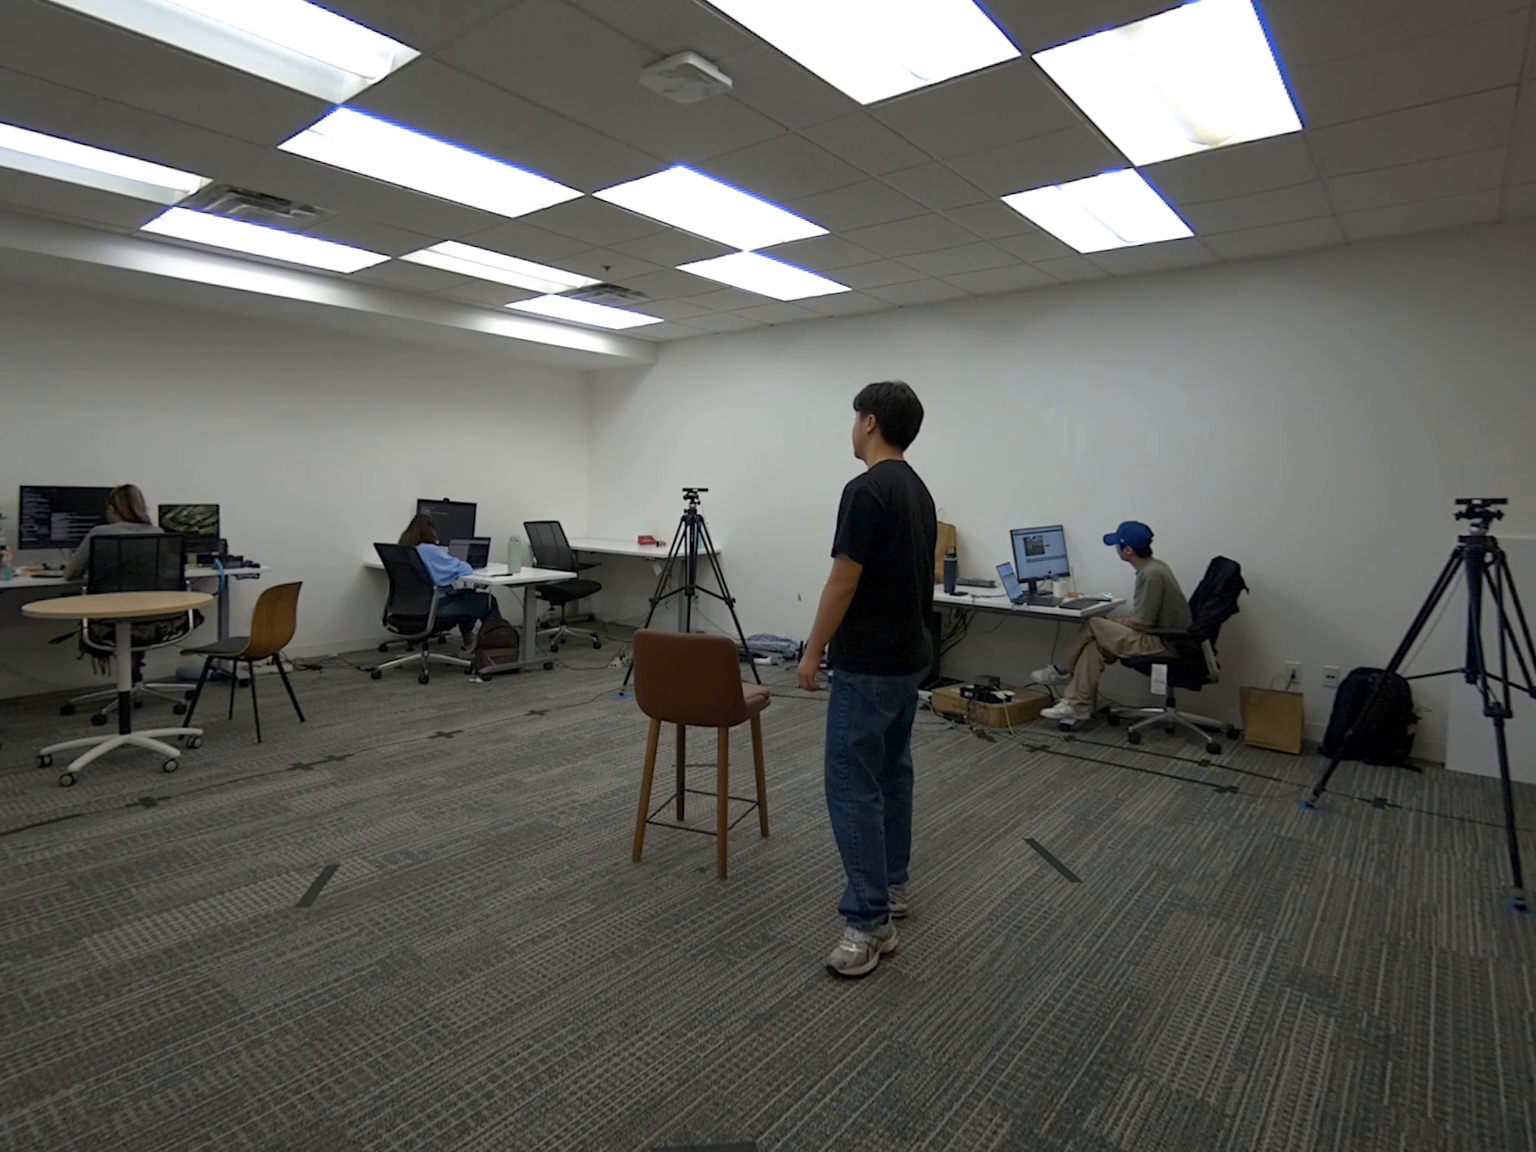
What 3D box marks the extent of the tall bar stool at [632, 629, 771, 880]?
[{"bbox_3d":[-0.267,0.616,3.283,0.467,0.886,0.459,2,5,22],"label":"tall bar stool"}]
